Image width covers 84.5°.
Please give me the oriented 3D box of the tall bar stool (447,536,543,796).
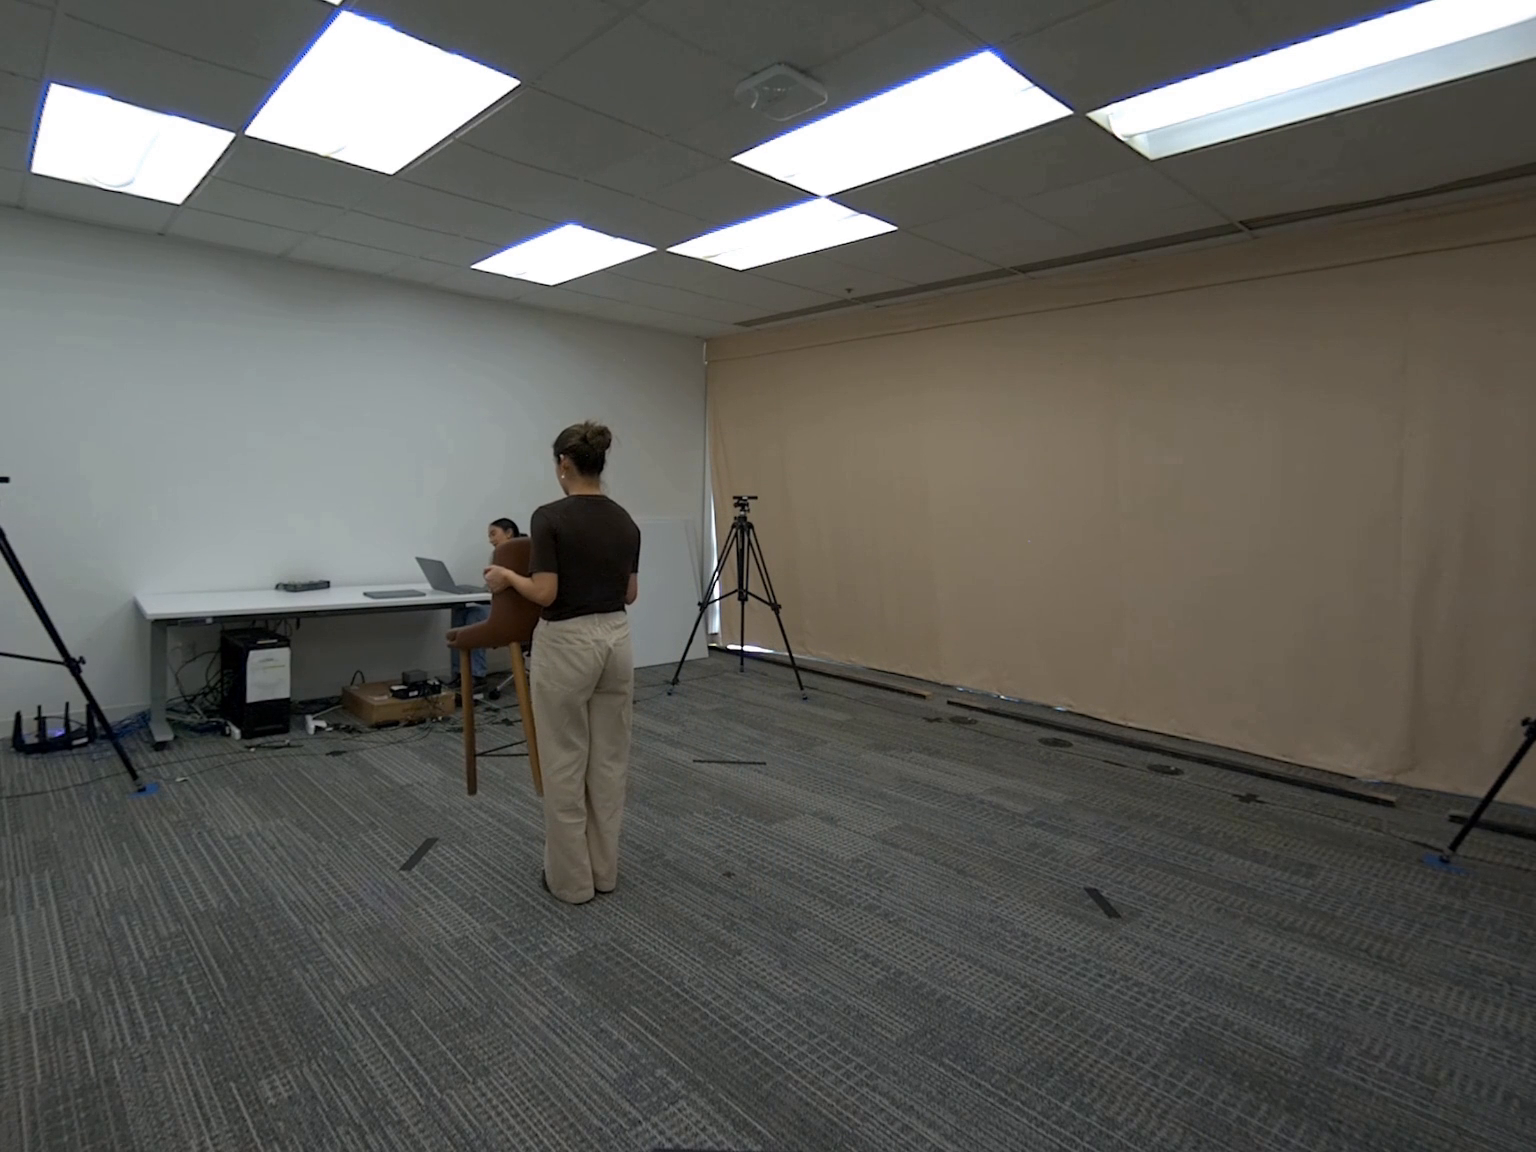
[{"bbox_3d":[-0.892,0.328,3.113,0.476,0.891,0.447,-10,-2,41],"label":"tall bar stool"}]
